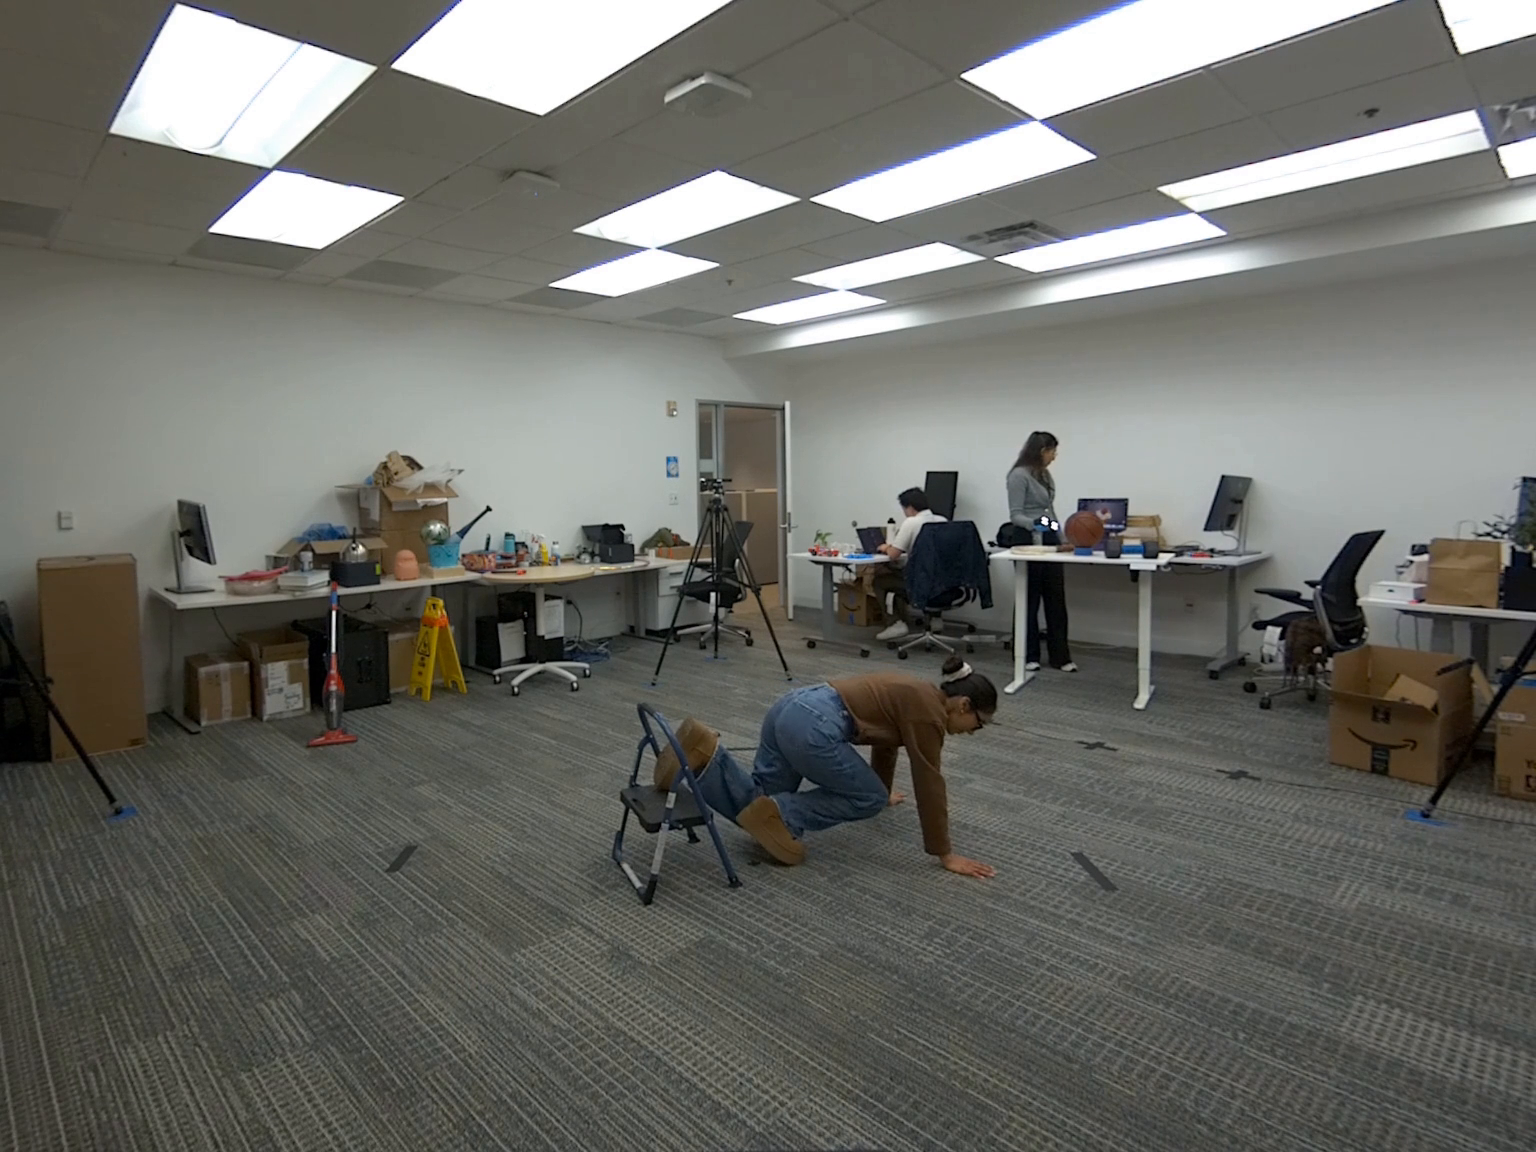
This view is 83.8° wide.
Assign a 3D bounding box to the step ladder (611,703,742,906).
[{"bbox_3d":[-0.342,0.757,3.042,0.342,0.604,0.441,-2,5,-26],"label":"step ladder"}]
